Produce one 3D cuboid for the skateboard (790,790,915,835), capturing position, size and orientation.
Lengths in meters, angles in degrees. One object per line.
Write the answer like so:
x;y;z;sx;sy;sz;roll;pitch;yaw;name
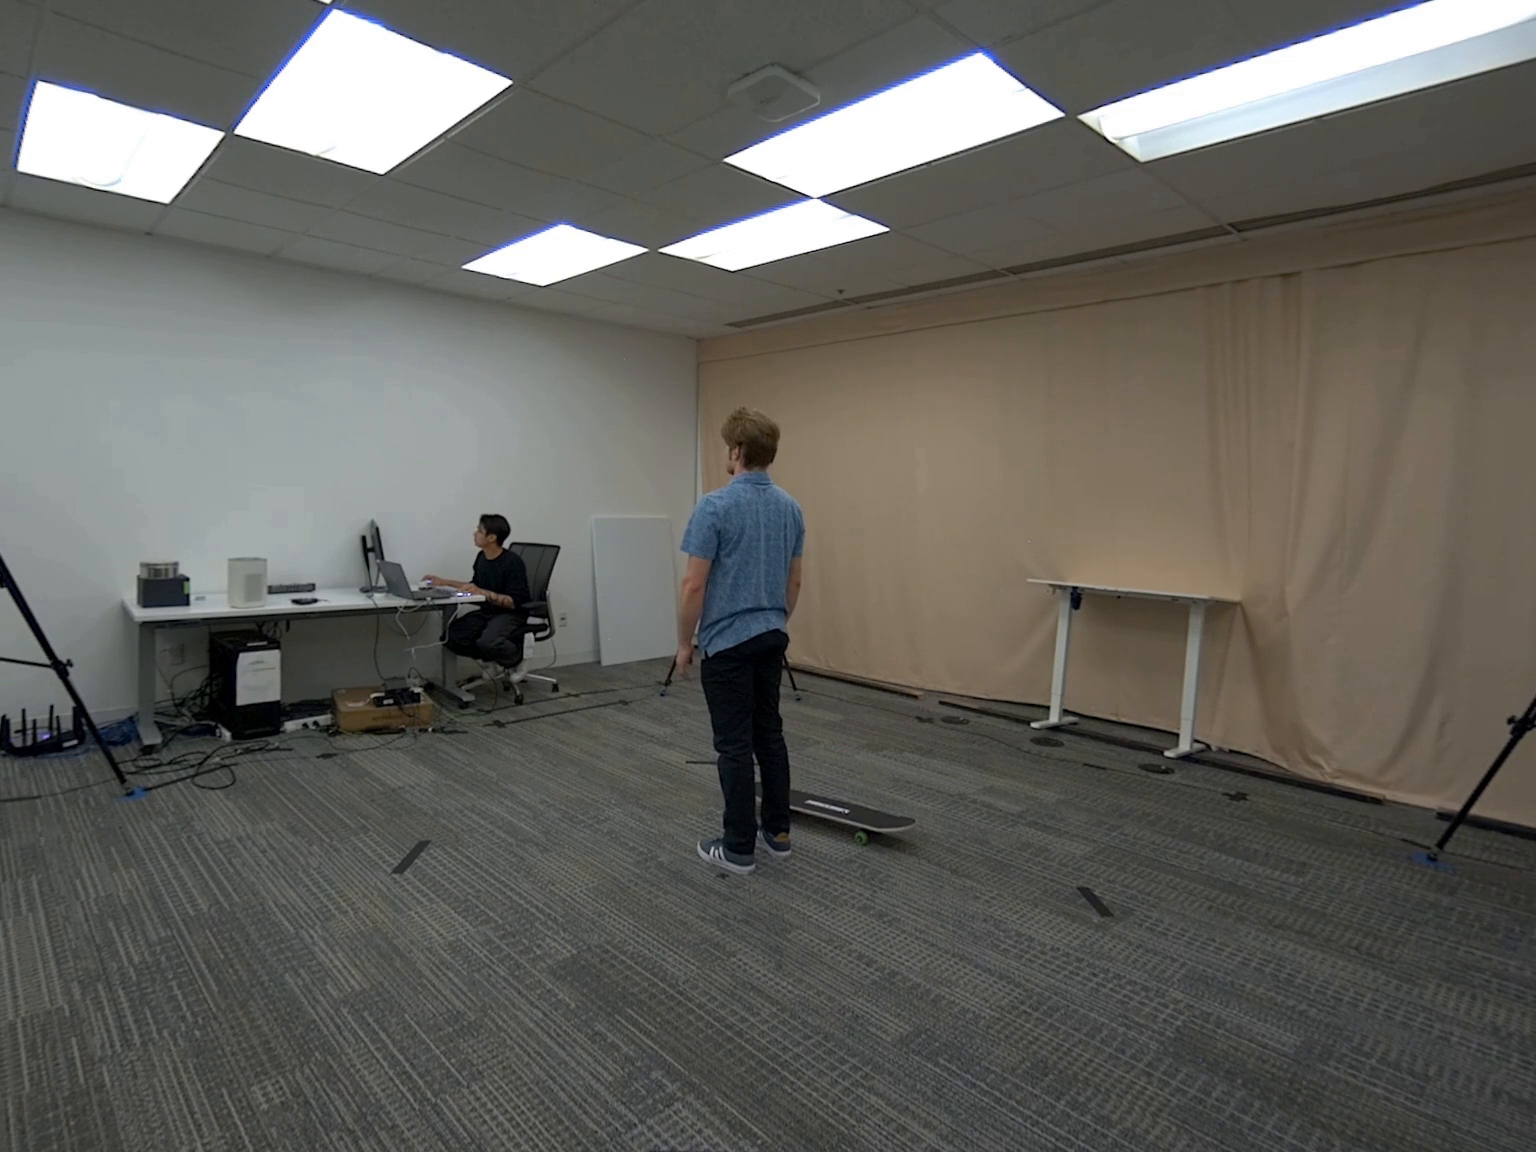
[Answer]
0.245;1.018;3.601;0.804;0.110;0.189;5;5;34;skateboard
